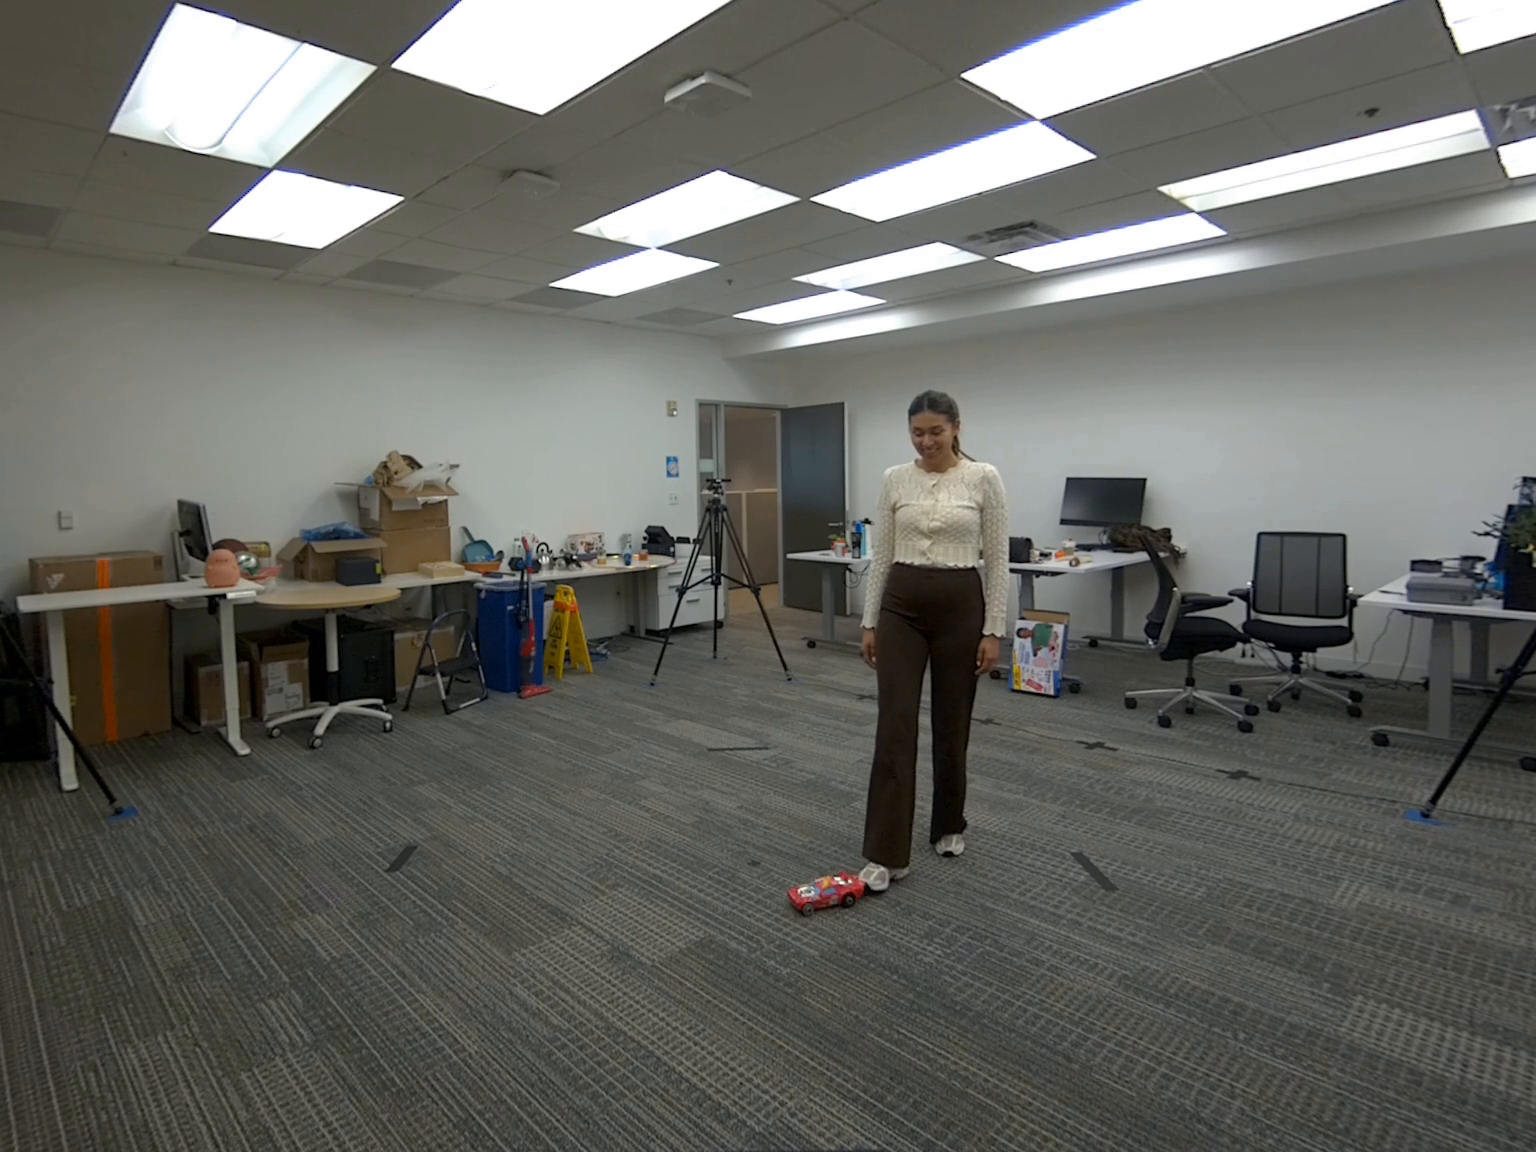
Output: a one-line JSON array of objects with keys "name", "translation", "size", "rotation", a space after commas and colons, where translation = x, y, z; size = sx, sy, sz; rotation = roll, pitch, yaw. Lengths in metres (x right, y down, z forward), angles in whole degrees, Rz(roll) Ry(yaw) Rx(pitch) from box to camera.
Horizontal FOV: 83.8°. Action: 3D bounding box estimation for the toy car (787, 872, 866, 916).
[{"name": "toy car", "translation": [0.207, 1.040, 2.804], "size": [0.251, 0.082, 0.133], "rotation": [-16, 11, -19]}]
